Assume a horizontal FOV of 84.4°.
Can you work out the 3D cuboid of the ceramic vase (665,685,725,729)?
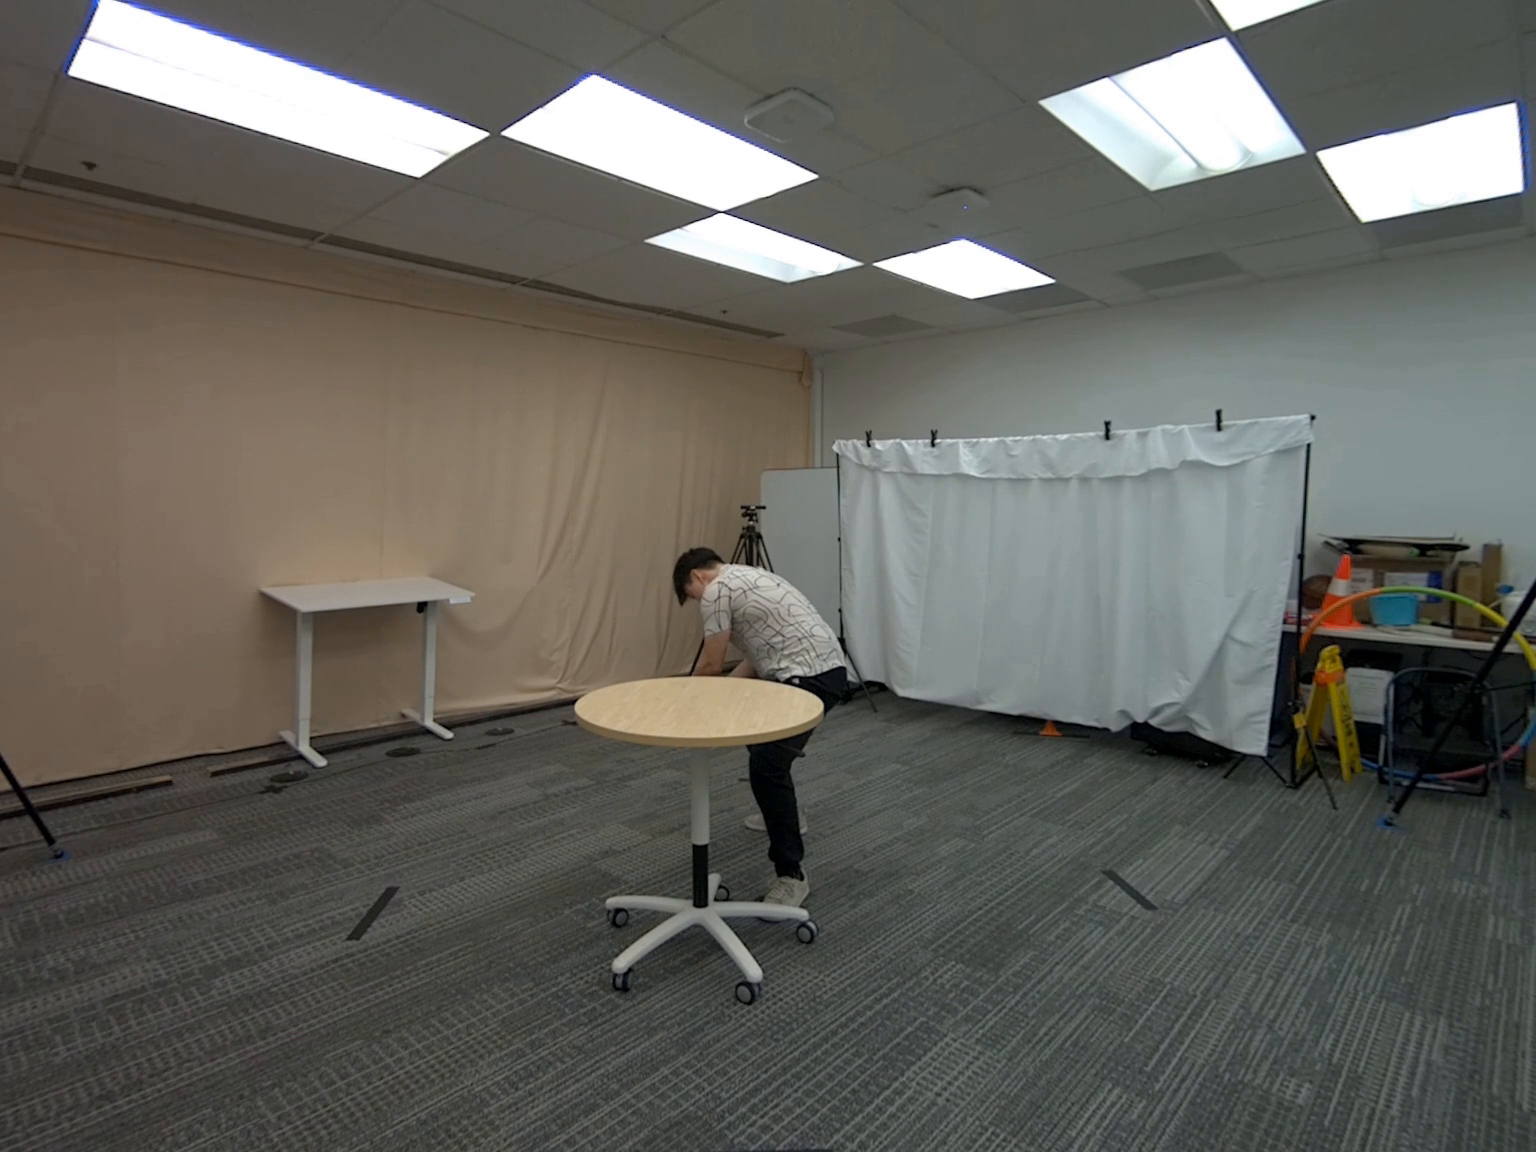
[{"bbox_3d":[-0.309,0.547,3.543,0.130,0.160,0.225,12,-19,-43],"label":"ceramic vase"}]
